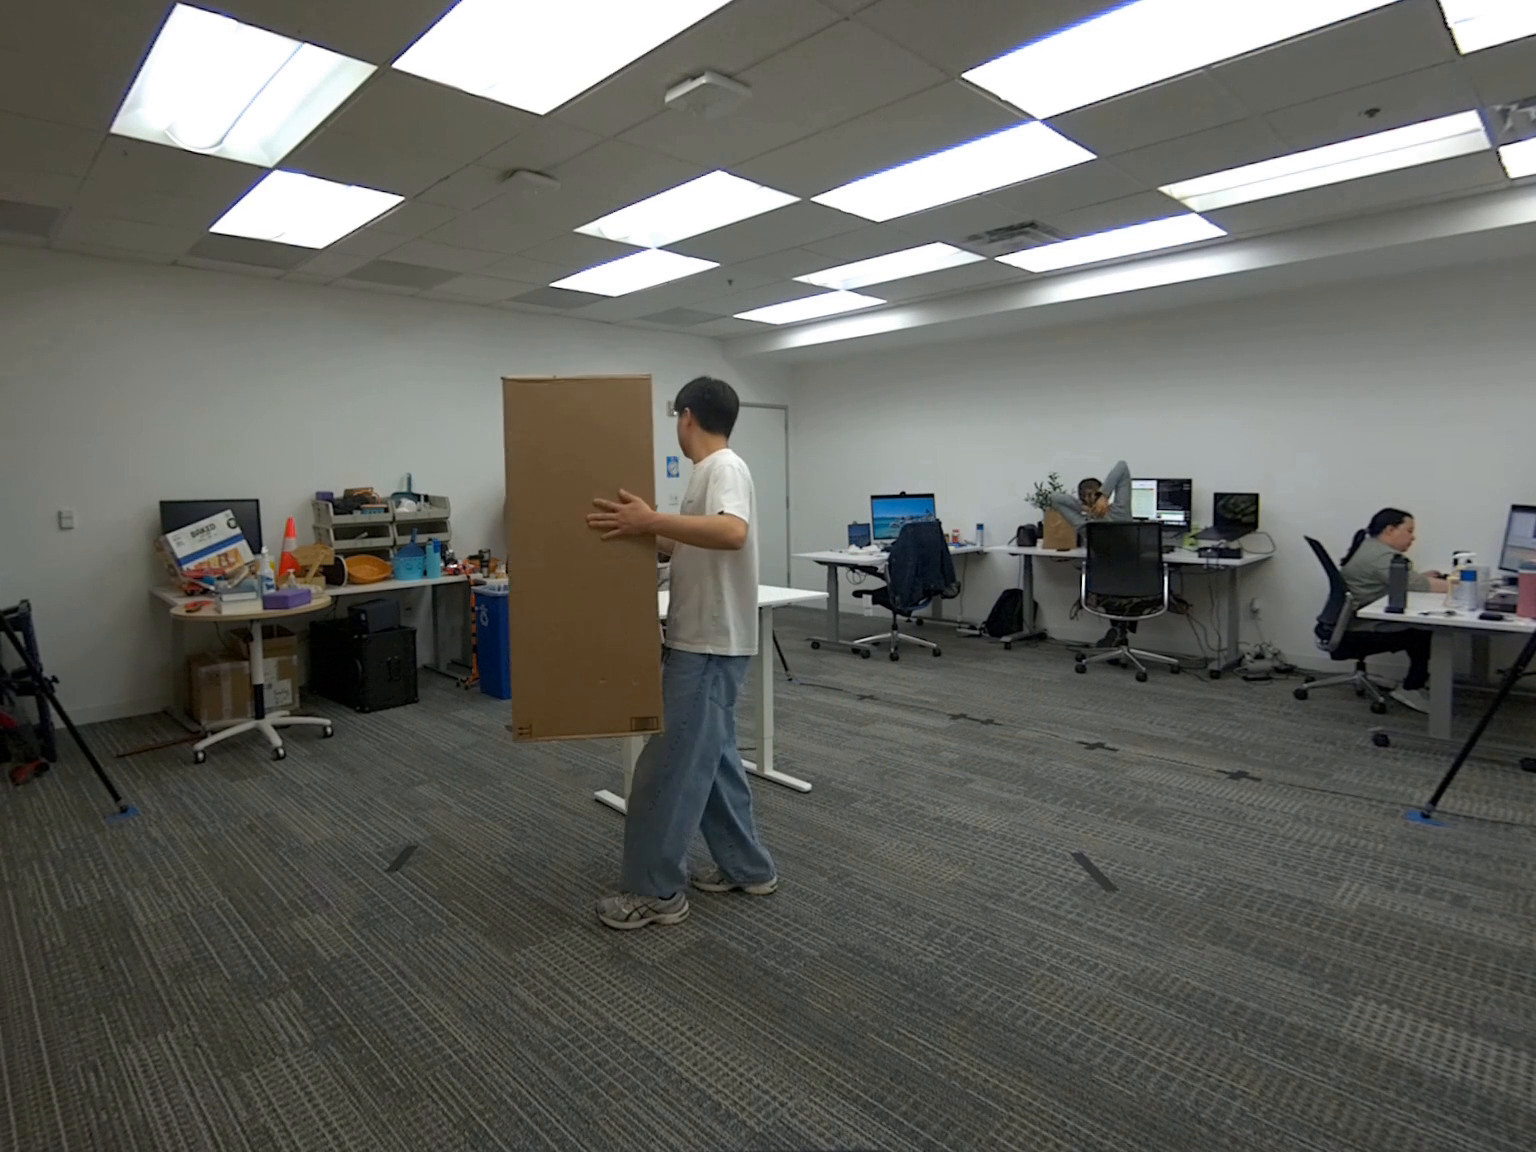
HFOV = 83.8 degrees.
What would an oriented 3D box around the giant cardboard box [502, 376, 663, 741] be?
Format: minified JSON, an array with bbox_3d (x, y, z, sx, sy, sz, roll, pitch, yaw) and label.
[{"bbox_3d":[-0.569,-0.065,2.678,0.424,1.027,0.580,-1,-1,-7],"label":"giant cardboard box"}]
